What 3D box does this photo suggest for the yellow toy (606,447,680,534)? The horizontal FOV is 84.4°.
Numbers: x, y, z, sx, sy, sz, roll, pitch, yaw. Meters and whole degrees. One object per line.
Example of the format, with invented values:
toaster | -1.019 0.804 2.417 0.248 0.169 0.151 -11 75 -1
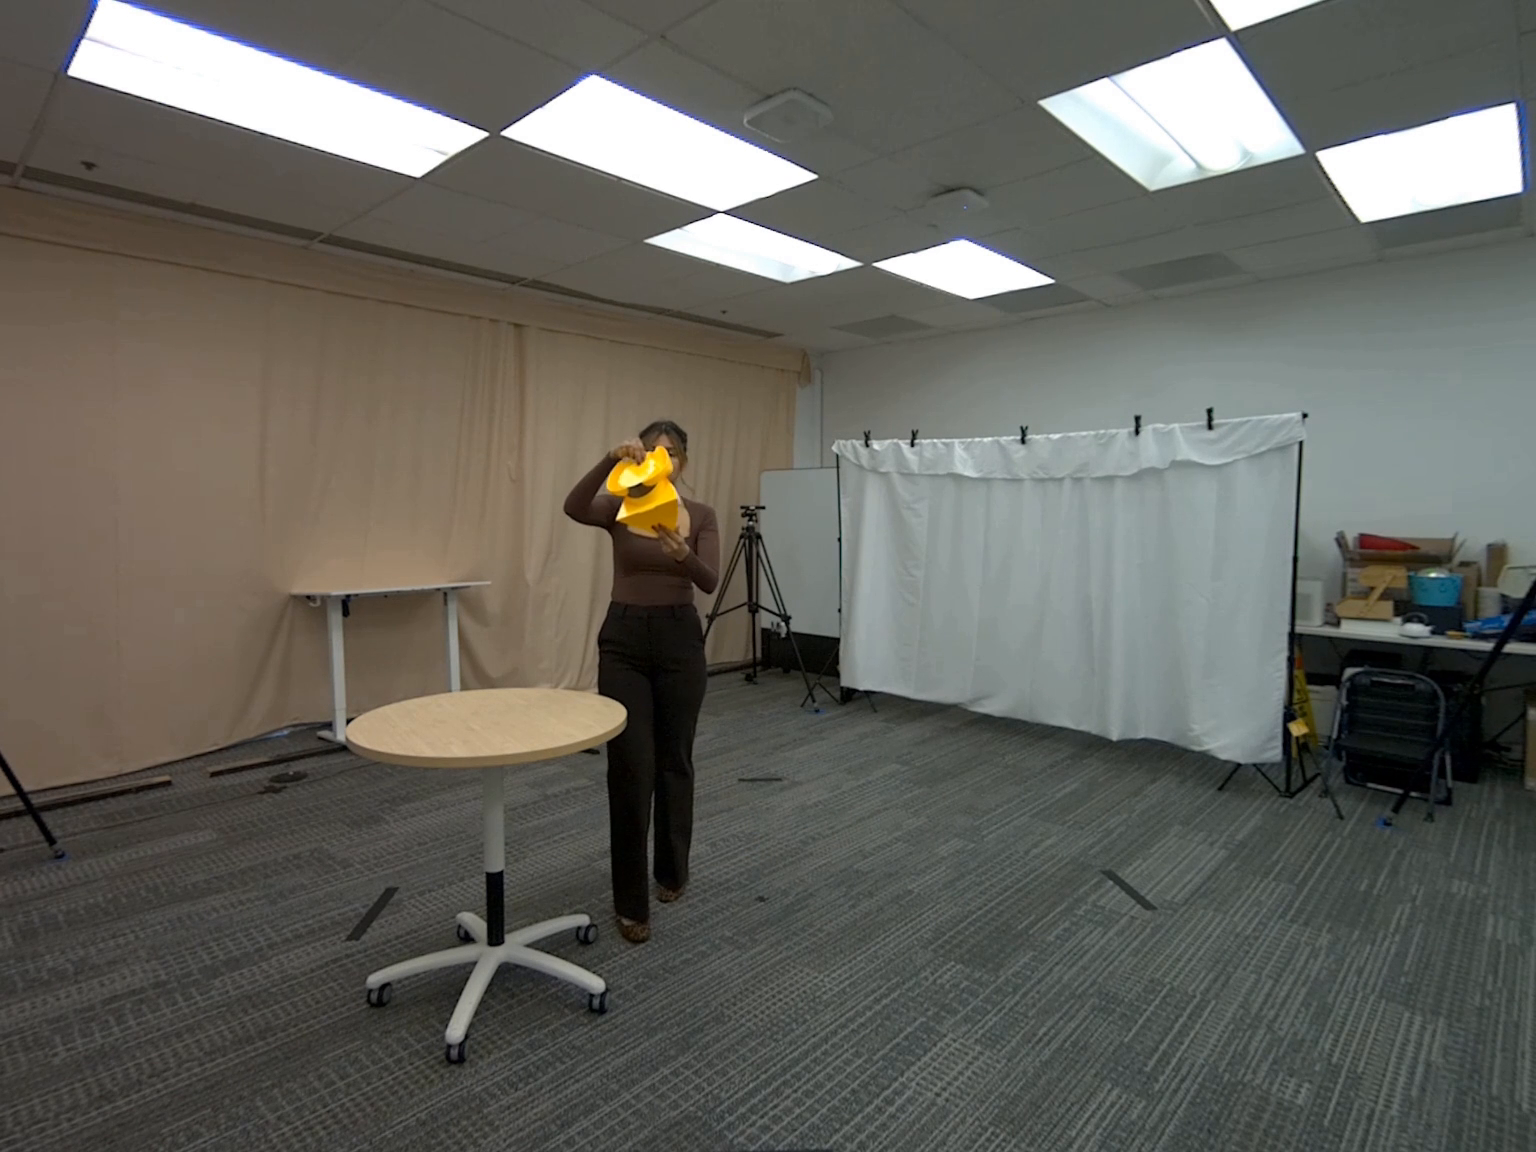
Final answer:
yellow toy | -0.336 -0.233 2.539 0.208 0.223 0.196 -18 39 17
